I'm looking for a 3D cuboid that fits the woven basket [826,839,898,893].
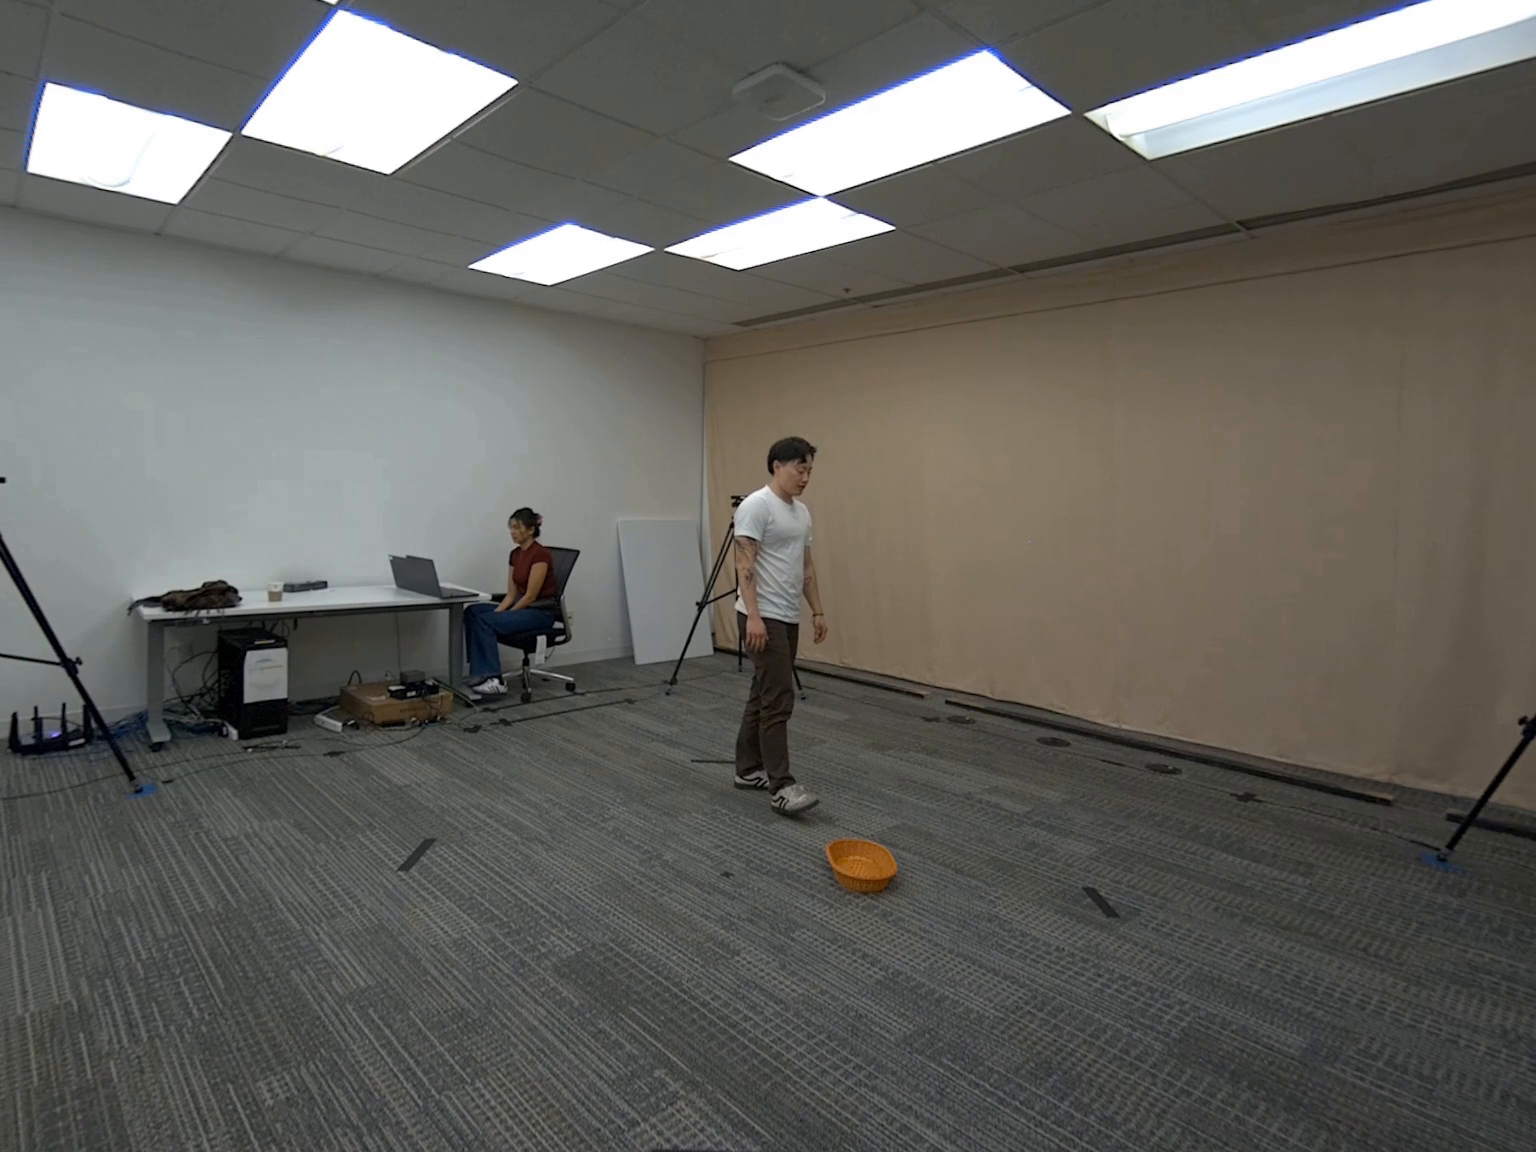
[{"bbox_3d":[0.336,1.073,3.115,0.252,0.073,0.352,2,5,-3],"label":"woven basket"}]
